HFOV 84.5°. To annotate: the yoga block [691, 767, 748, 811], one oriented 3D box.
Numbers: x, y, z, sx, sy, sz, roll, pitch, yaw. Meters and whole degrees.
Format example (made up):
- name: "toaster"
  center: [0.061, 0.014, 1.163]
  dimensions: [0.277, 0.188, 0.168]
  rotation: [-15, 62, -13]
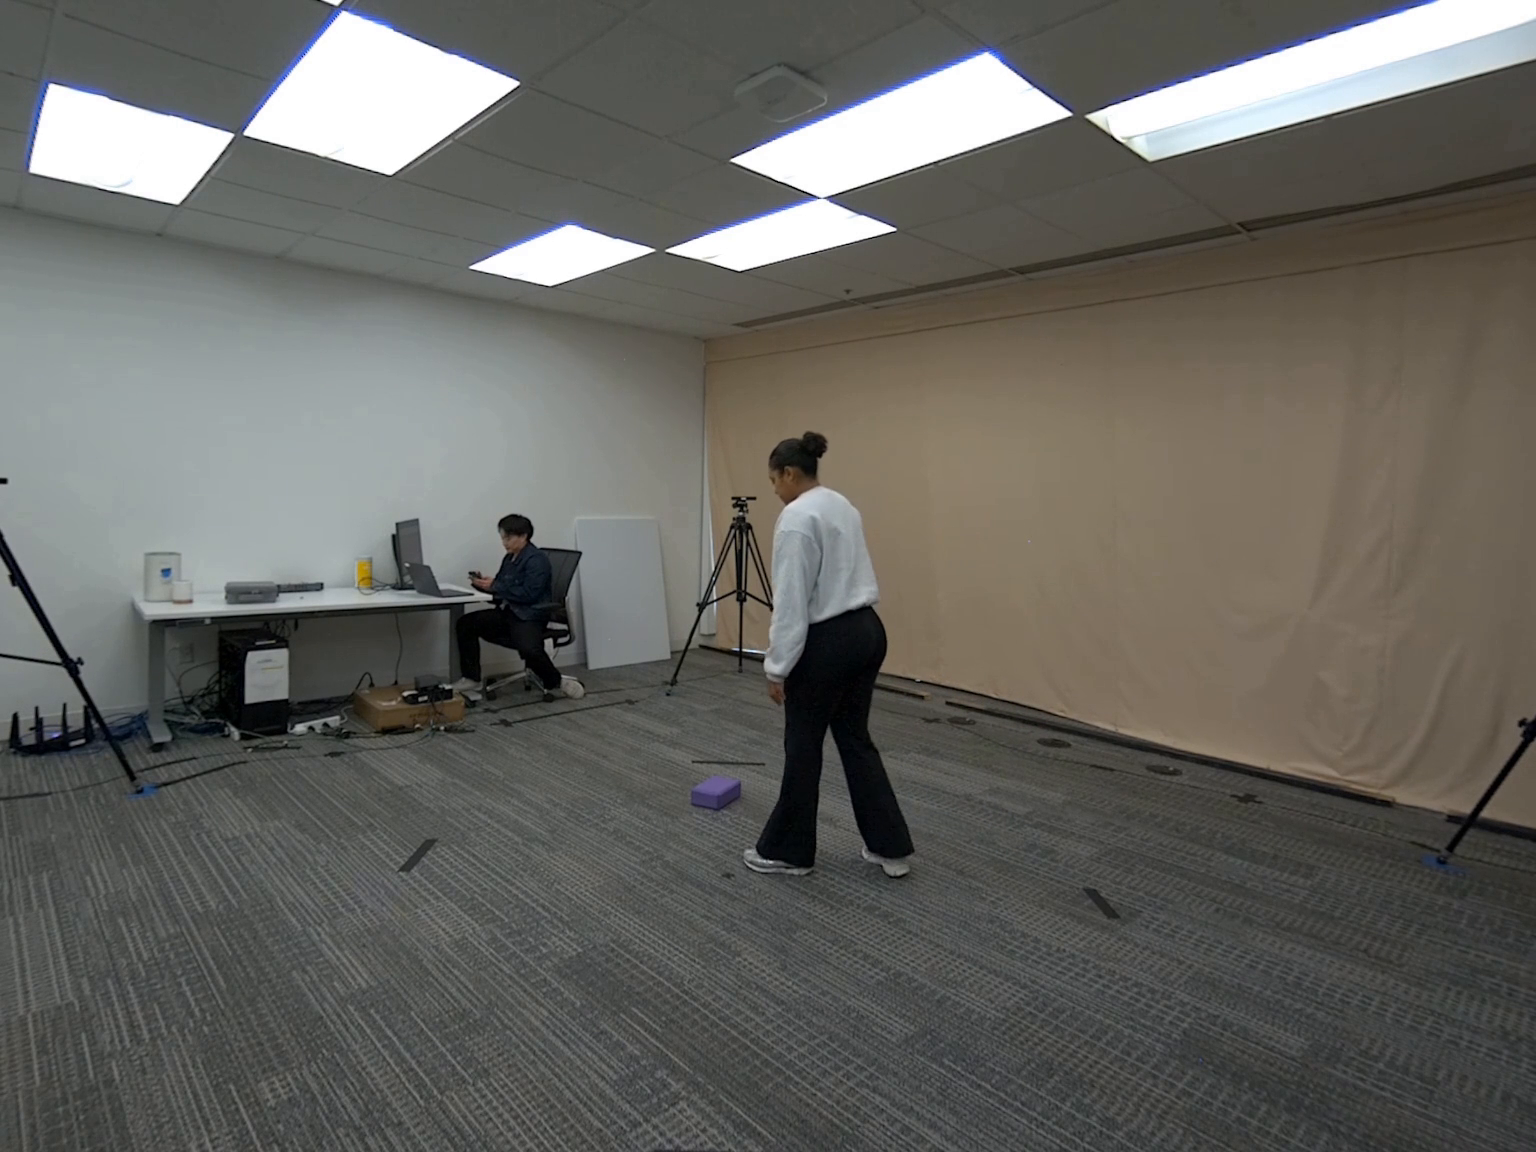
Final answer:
- name: "yoga block"
  center: [-0.251, 0.998, 3.886]
  dimensions: [0.152, 0.076, 0.225]
  rotation: [4, 6, 26]
